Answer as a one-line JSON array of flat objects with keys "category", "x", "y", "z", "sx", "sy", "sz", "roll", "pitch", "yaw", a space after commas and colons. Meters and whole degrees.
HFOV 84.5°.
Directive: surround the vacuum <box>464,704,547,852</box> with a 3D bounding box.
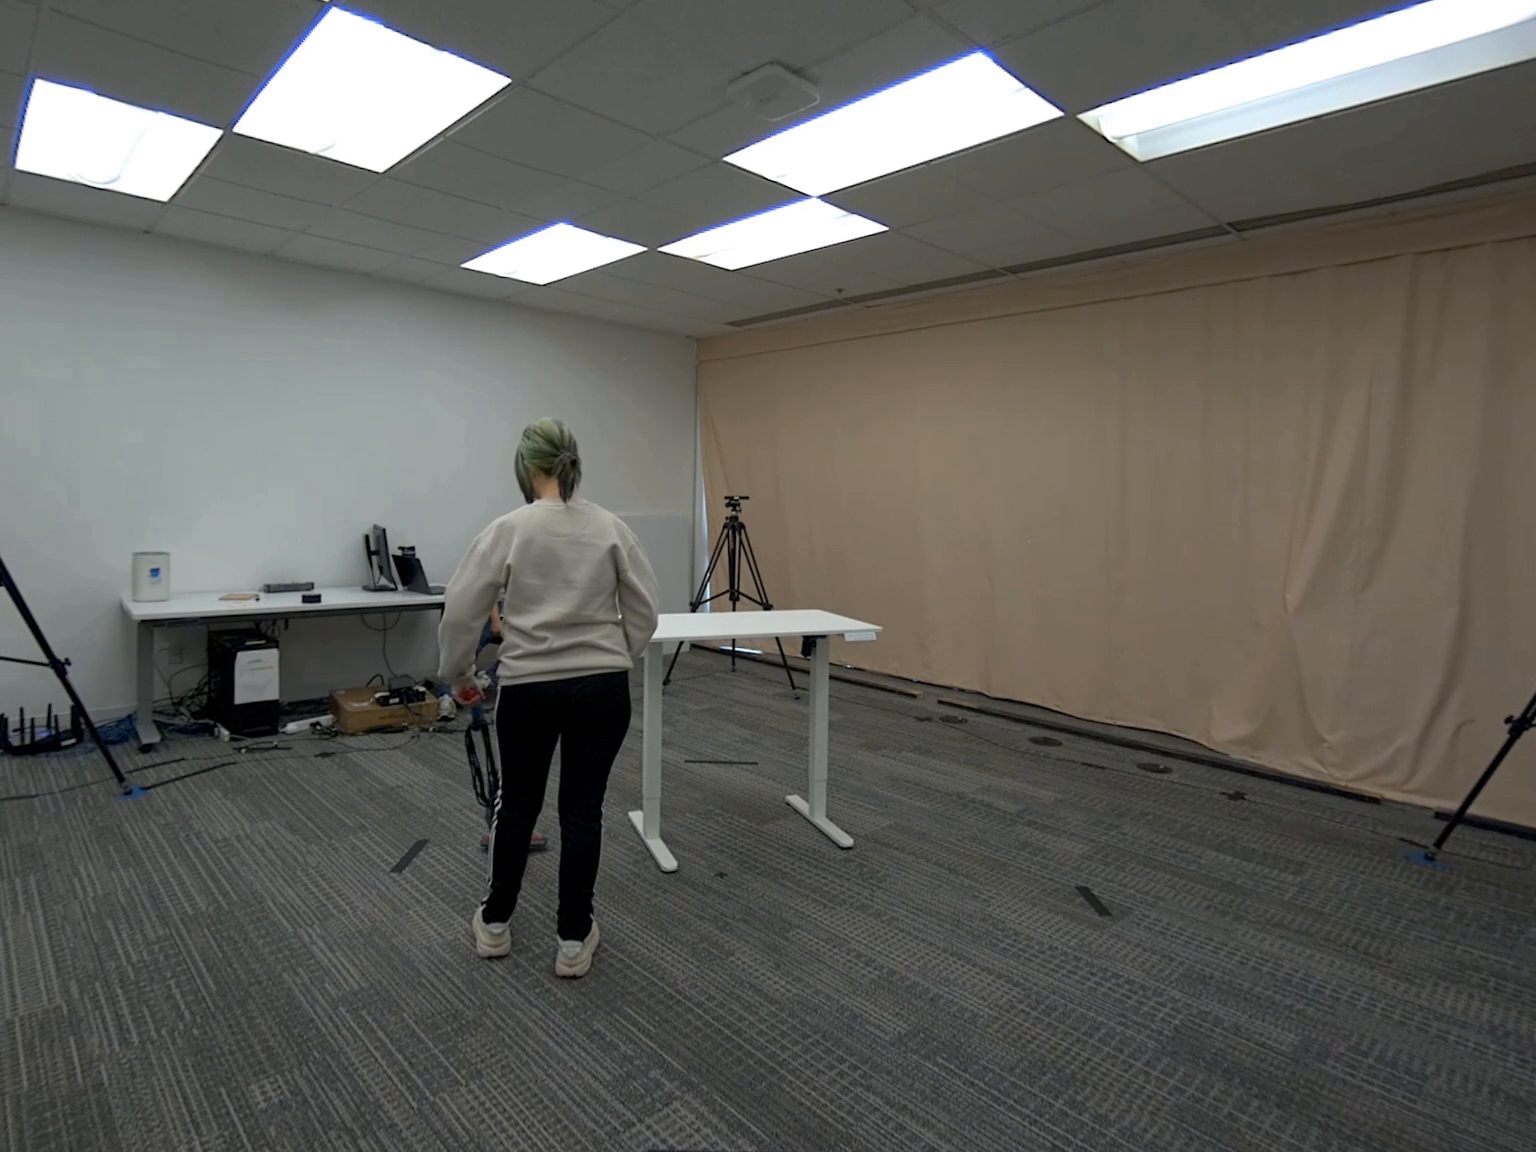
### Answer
[{"category": "vacuum", "x": -0.949, "y": 0.712, "z": 2.875, "sx": 0.252, "sy": 1.030, "sz": 0.147, "roll": 4, "pitch": 47, "yaw": -5}]
